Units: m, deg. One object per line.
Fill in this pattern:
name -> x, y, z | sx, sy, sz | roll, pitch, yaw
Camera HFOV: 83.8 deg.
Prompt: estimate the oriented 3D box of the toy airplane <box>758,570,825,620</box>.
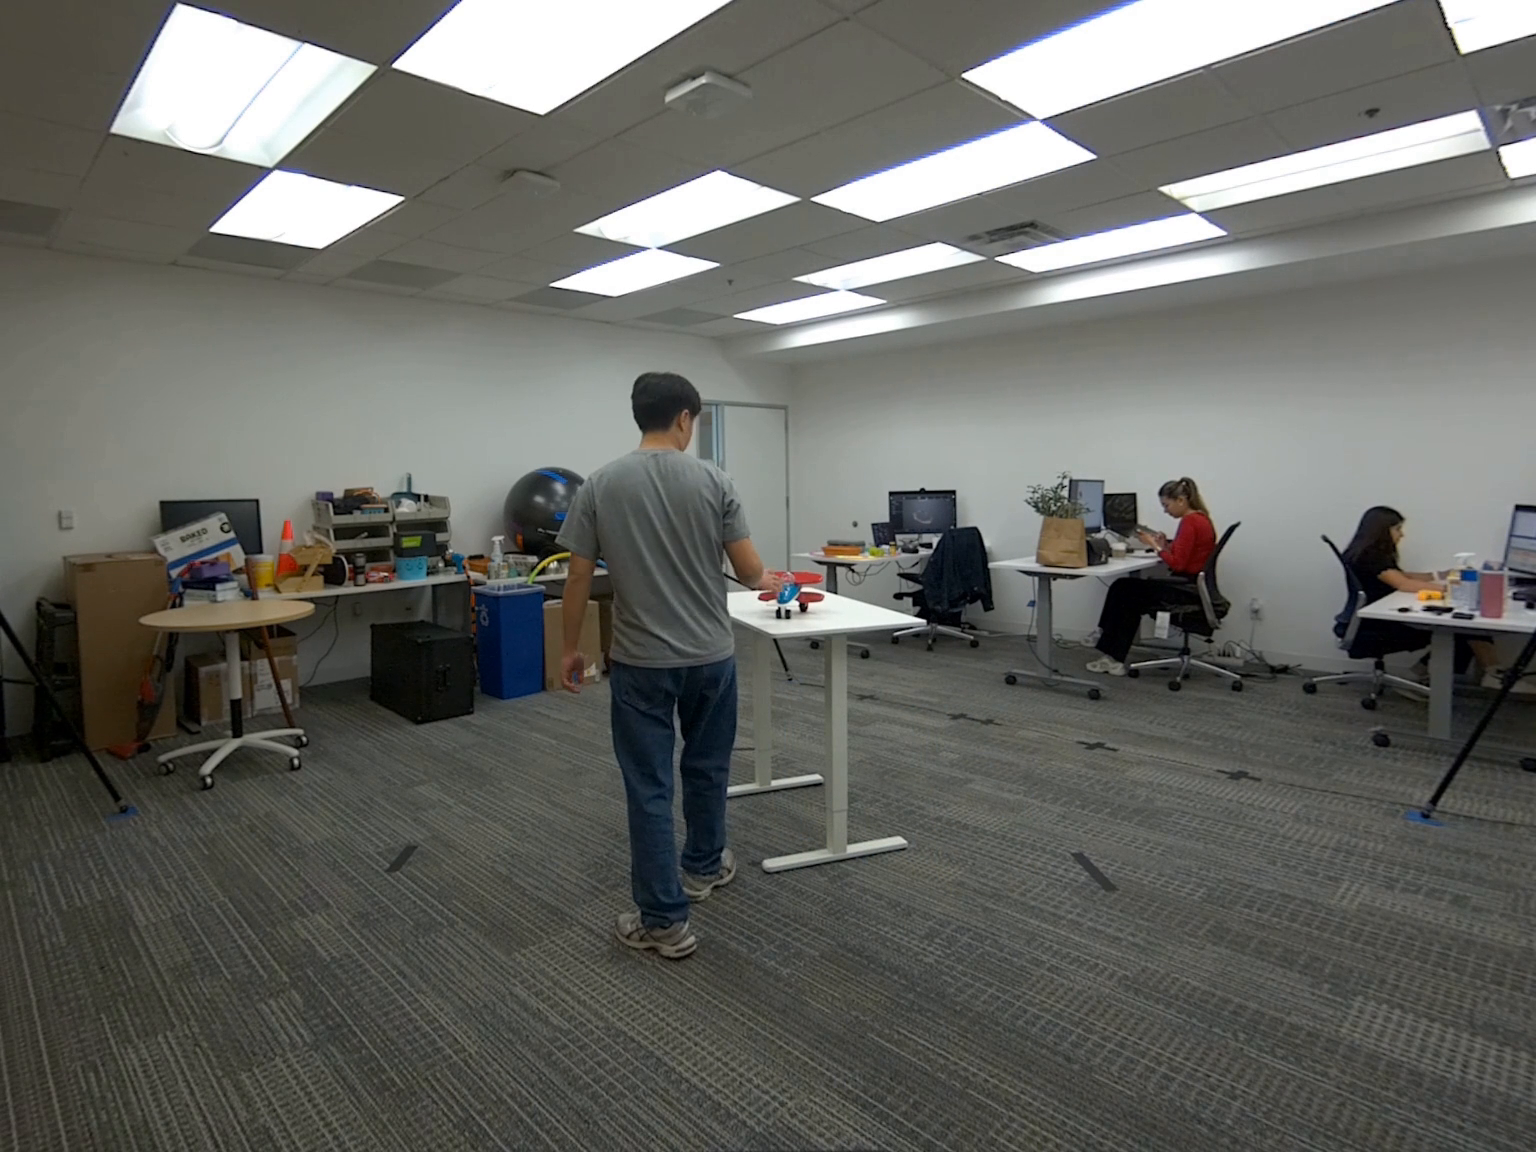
toy airplane -> 0.102, 0.067, 3.231 | 0.247, 0.156, 0.264 | -3, 5, -16
